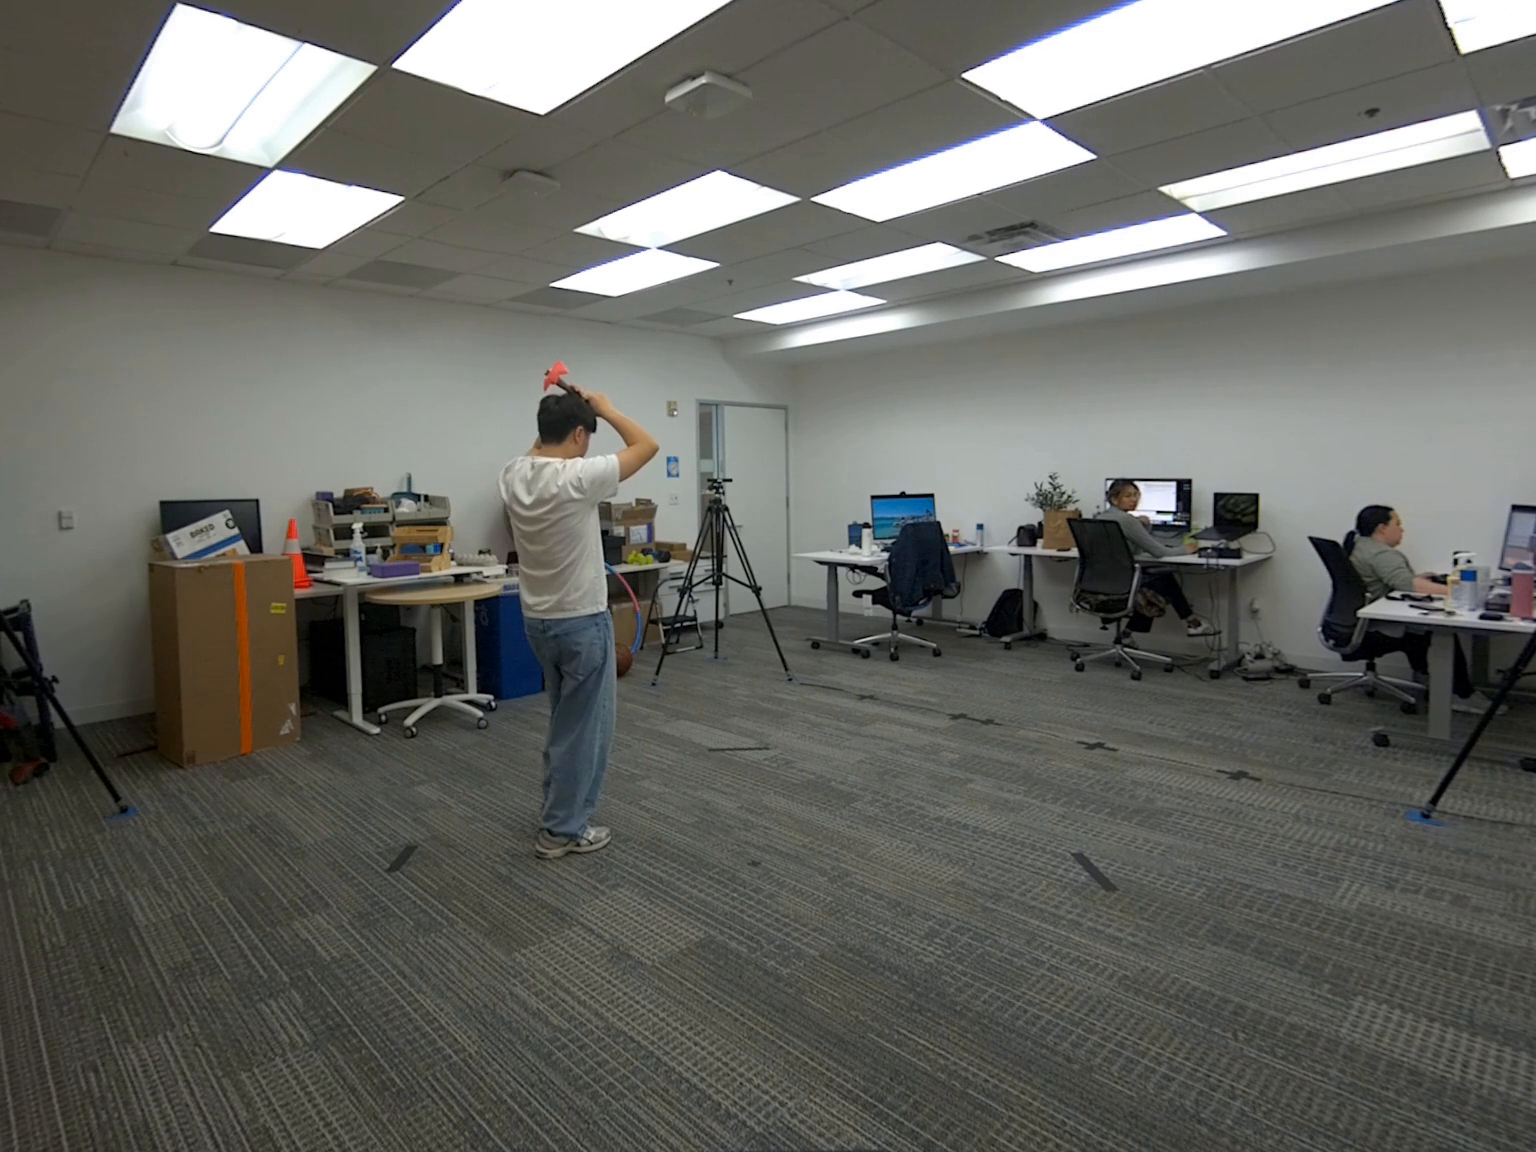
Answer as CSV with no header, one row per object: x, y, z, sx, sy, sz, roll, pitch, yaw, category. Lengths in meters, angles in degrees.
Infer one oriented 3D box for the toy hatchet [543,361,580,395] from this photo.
-0.736,-0.736,3.289,0.261,0.132,0.030,12,-11,-39,toy hatchet
